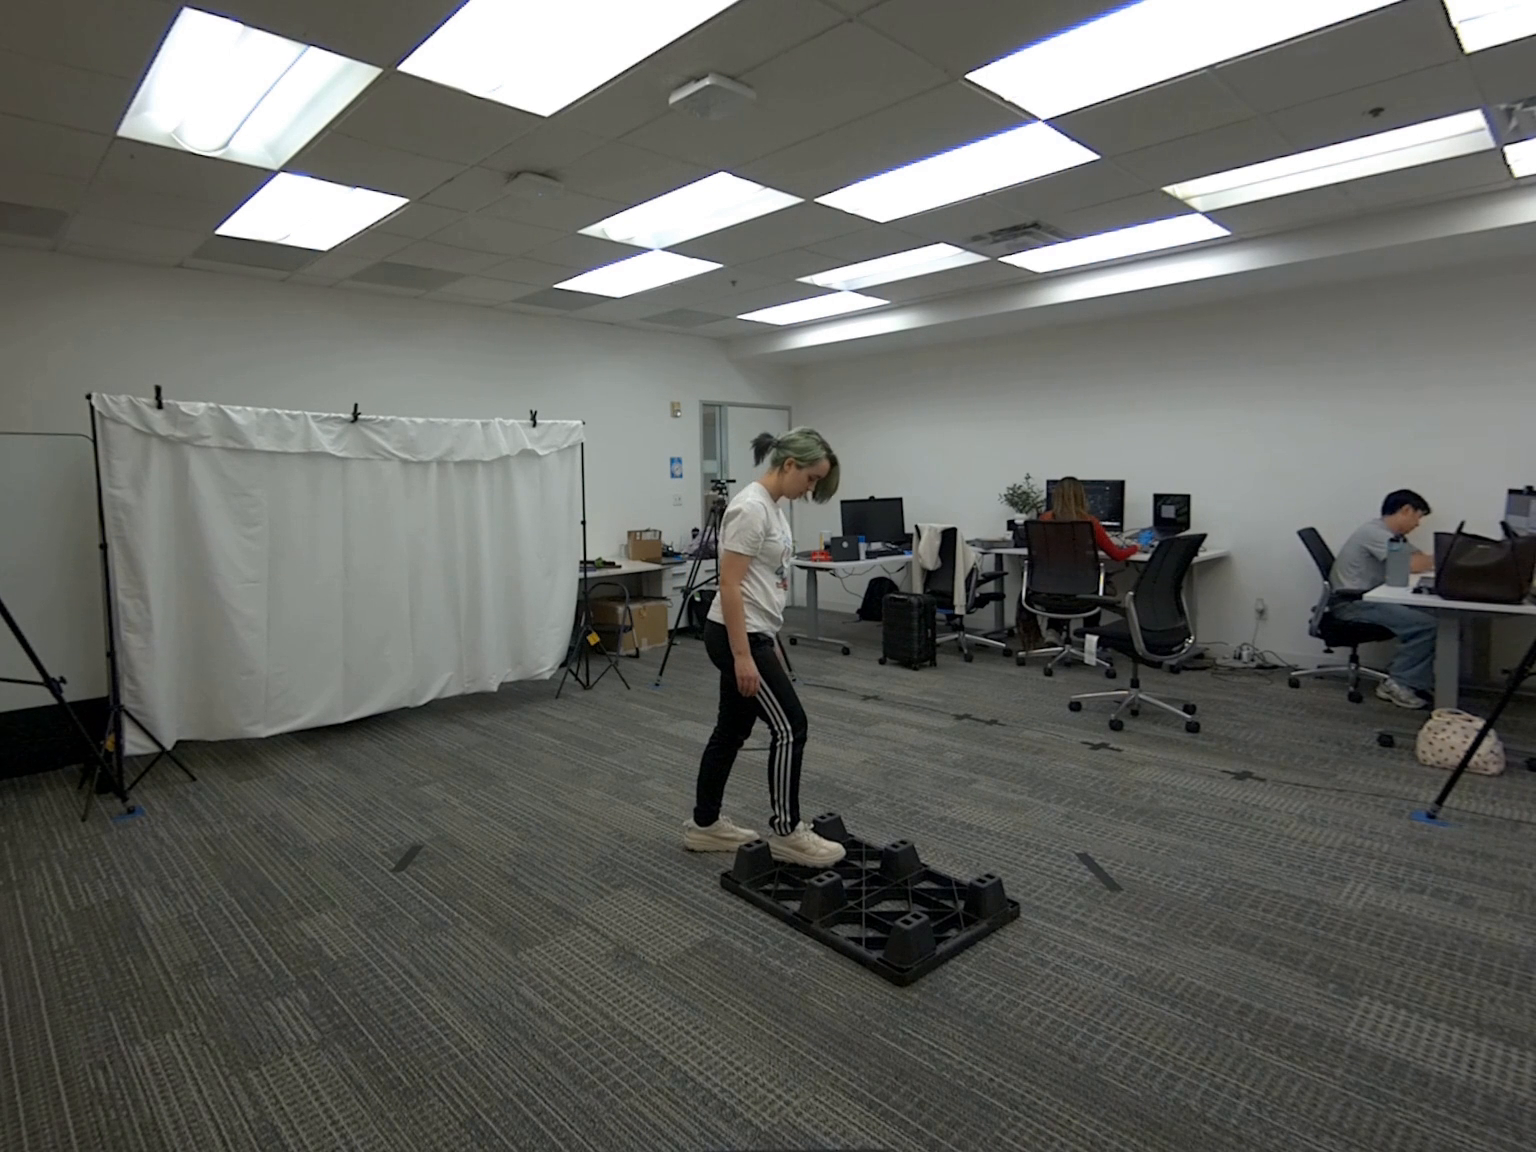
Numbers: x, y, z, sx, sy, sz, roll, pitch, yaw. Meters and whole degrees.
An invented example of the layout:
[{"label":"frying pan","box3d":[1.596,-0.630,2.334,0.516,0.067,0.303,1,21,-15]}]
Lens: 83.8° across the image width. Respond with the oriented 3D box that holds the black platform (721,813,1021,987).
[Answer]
[{"label":"black platform","box3d":[0.312,1.009,2.822,0.589,0.143,0.830,-6,8,-41]}]
